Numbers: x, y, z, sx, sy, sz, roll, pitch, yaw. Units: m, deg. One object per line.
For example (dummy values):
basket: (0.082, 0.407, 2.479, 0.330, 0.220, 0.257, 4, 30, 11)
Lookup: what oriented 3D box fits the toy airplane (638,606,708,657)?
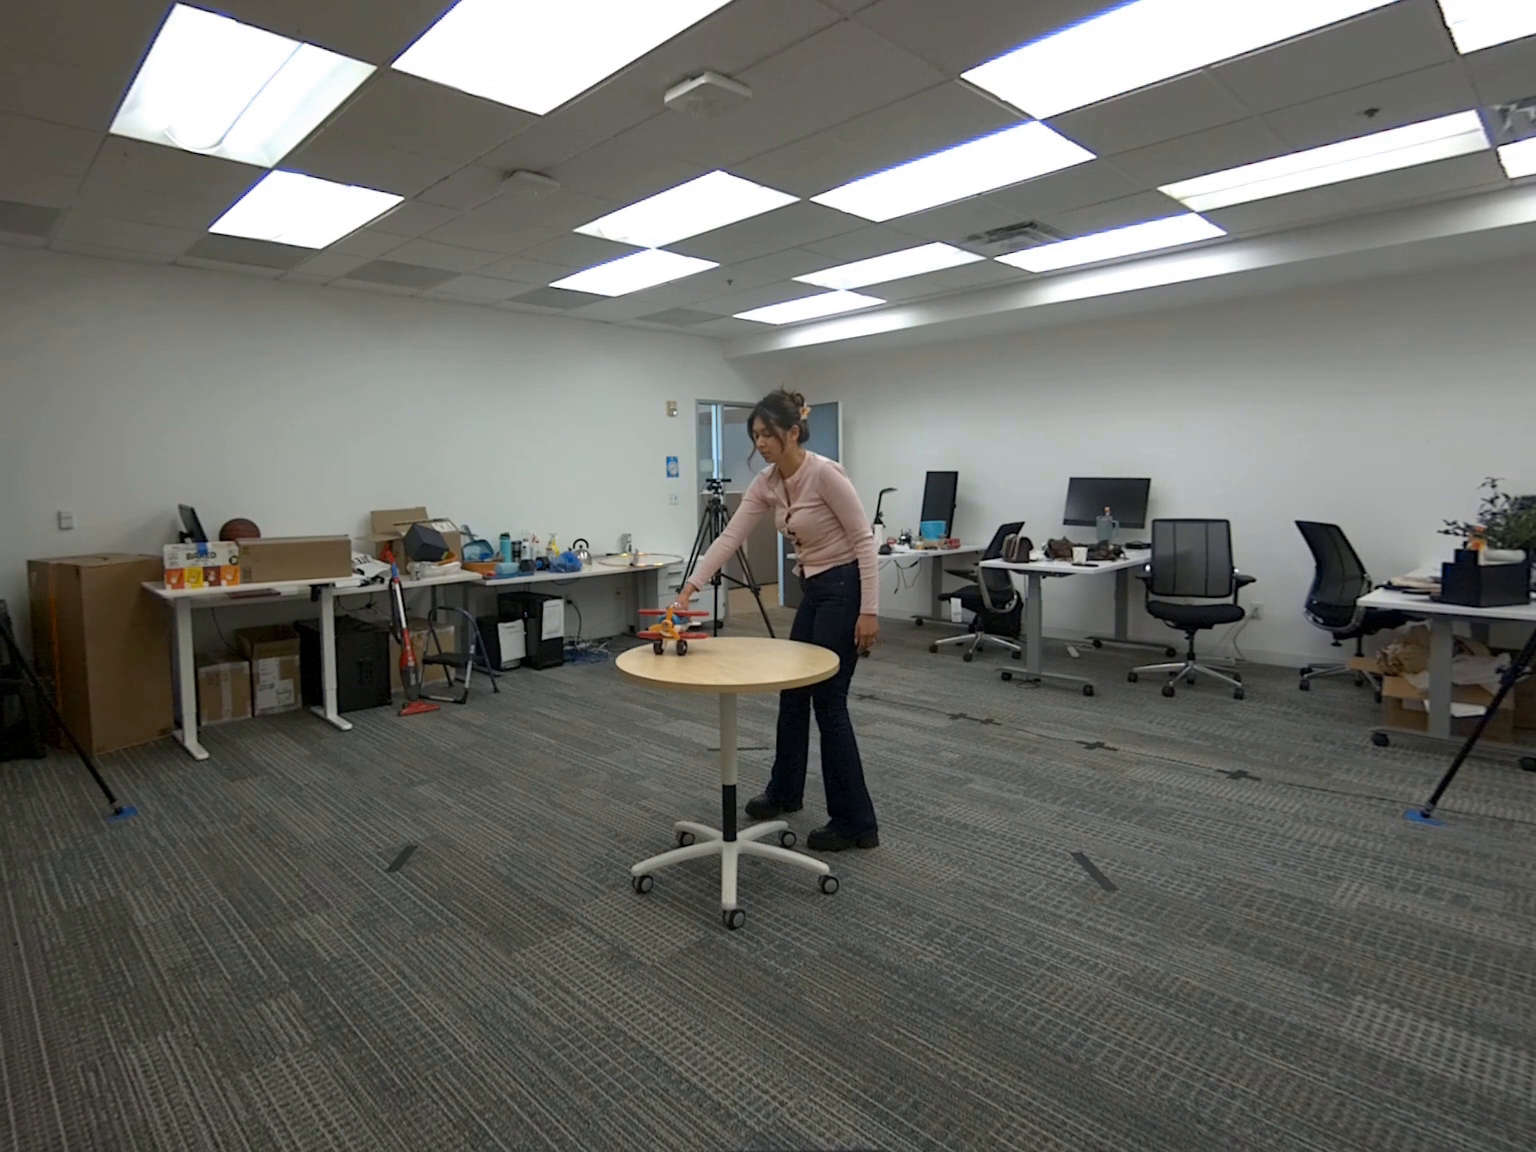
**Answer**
toy airplane: (-0.350, 0.183, 3.075, 0.248, 0.155, 0.266, -5, 13, -16)
